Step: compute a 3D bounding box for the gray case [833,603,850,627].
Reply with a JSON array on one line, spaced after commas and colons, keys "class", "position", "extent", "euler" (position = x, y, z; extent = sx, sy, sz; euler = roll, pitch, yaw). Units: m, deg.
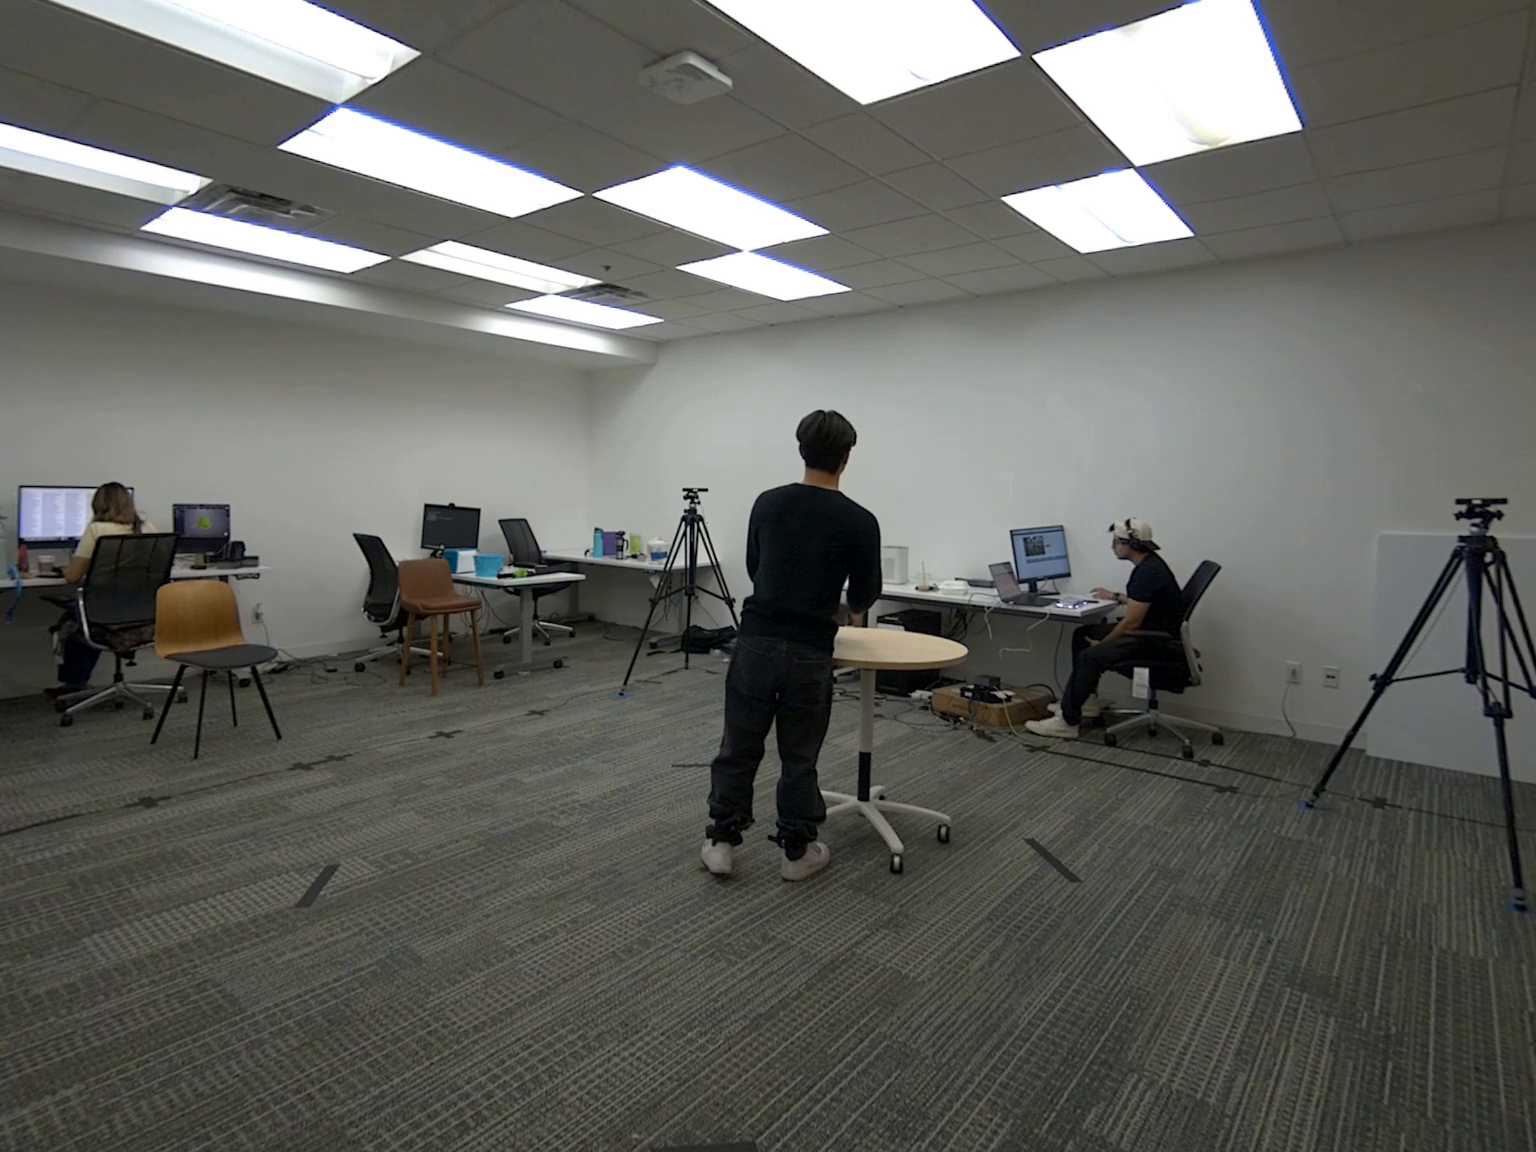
[{"class": "gray case", "position": [0.222, 0.118, 3.467], "extent": [0.261, 0.103, 0.258], "euler": [7, 10, 13]}]
